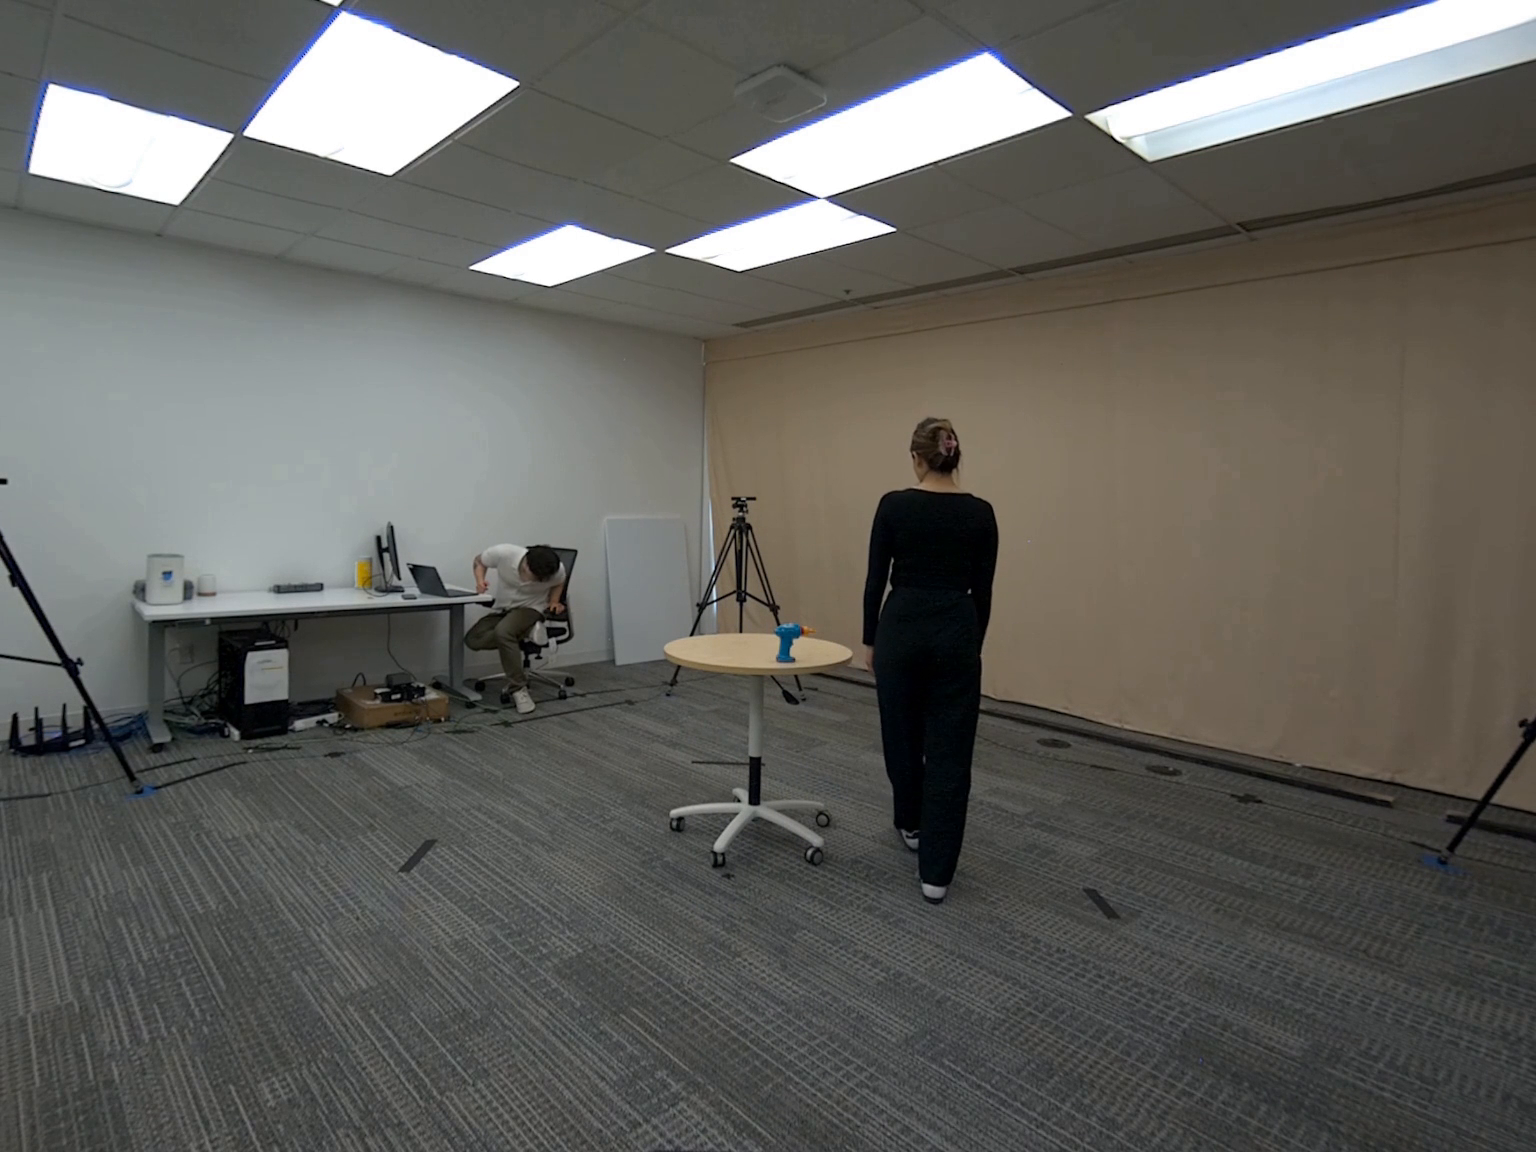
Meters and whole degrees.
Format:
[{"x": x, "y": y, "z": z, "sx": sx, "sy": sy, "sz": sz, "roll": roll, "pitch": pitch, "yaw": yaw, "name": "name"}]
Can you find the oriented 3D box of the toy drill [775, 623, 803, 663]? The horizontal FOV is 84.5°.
[{"x": 0.097, "y": 0.246, "z": 3.194, "sx": 0.167, "sy": 0.145, "sz": 0.062, "roll": -1, "pitch": 6, "yaw": -21, "name": "toy drill"}]
